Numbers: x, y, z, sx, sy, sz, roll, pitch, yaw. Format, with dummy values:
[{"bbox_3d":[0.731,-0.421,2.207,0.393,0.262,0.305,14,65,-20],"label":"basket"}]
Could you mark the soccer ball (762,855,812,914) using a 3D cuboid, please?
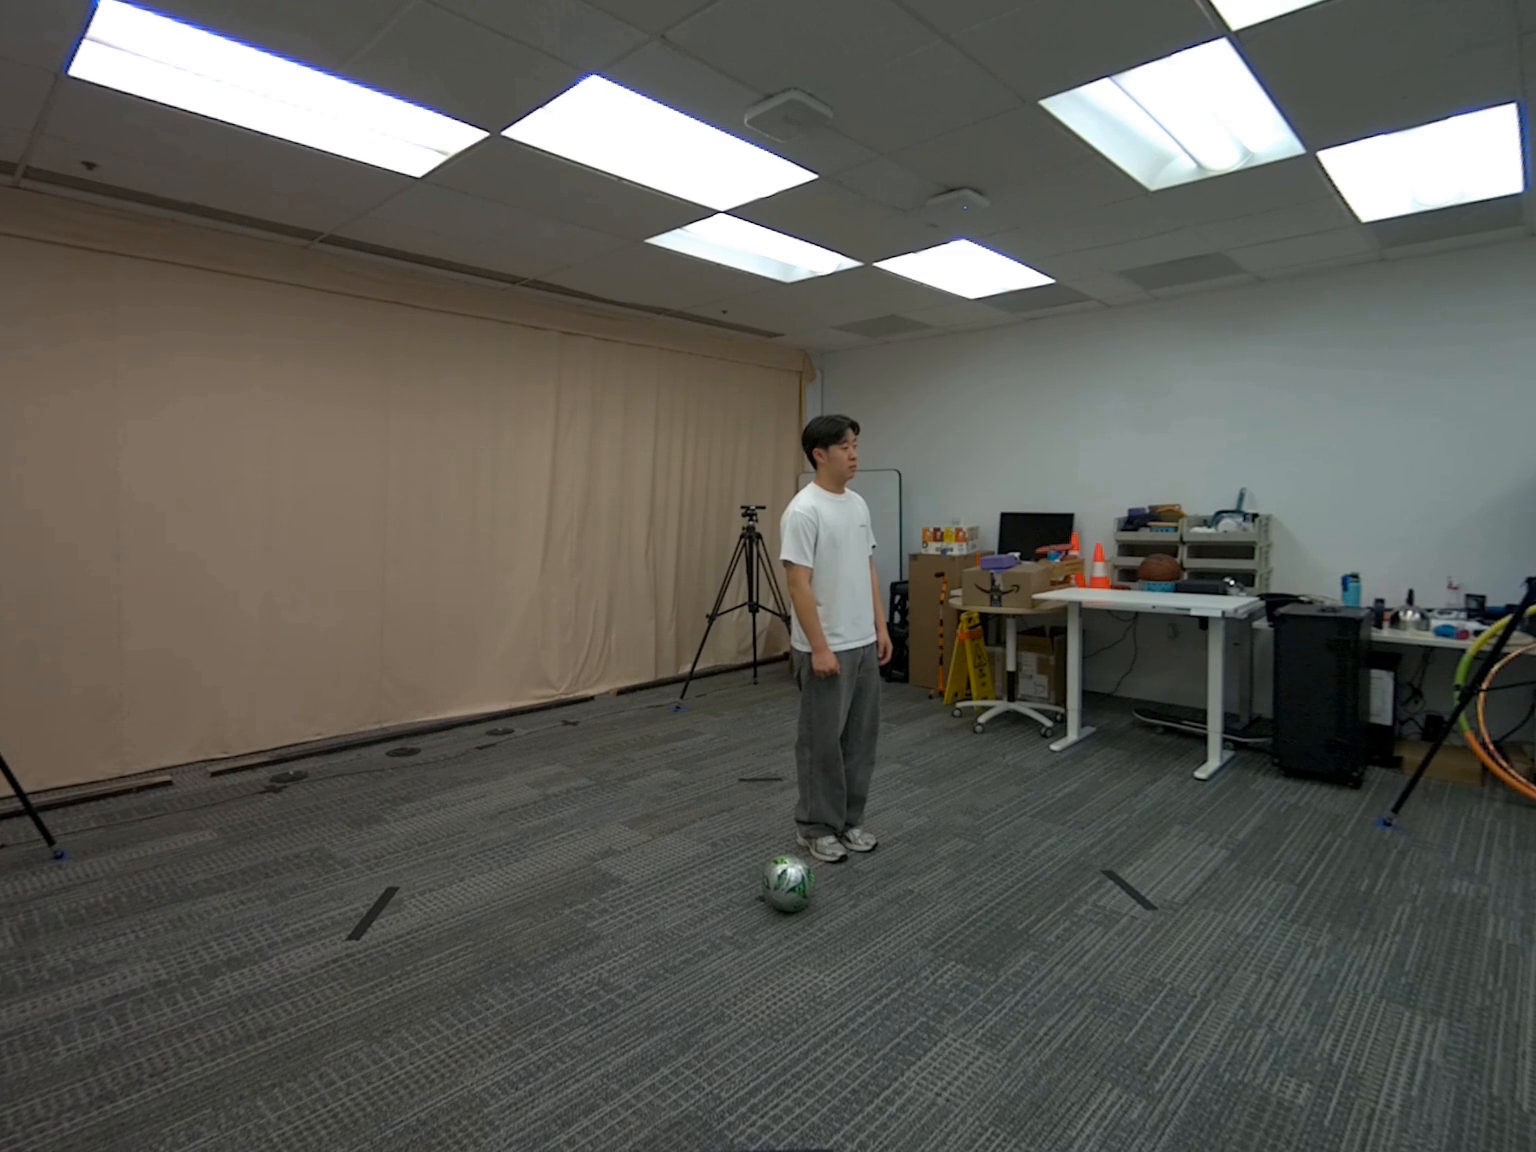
[{"bbox_3d":[0.078,1.057,2.902,0.187,0.187,0.188,0,4,-2],"label":"soccer ball"}]
